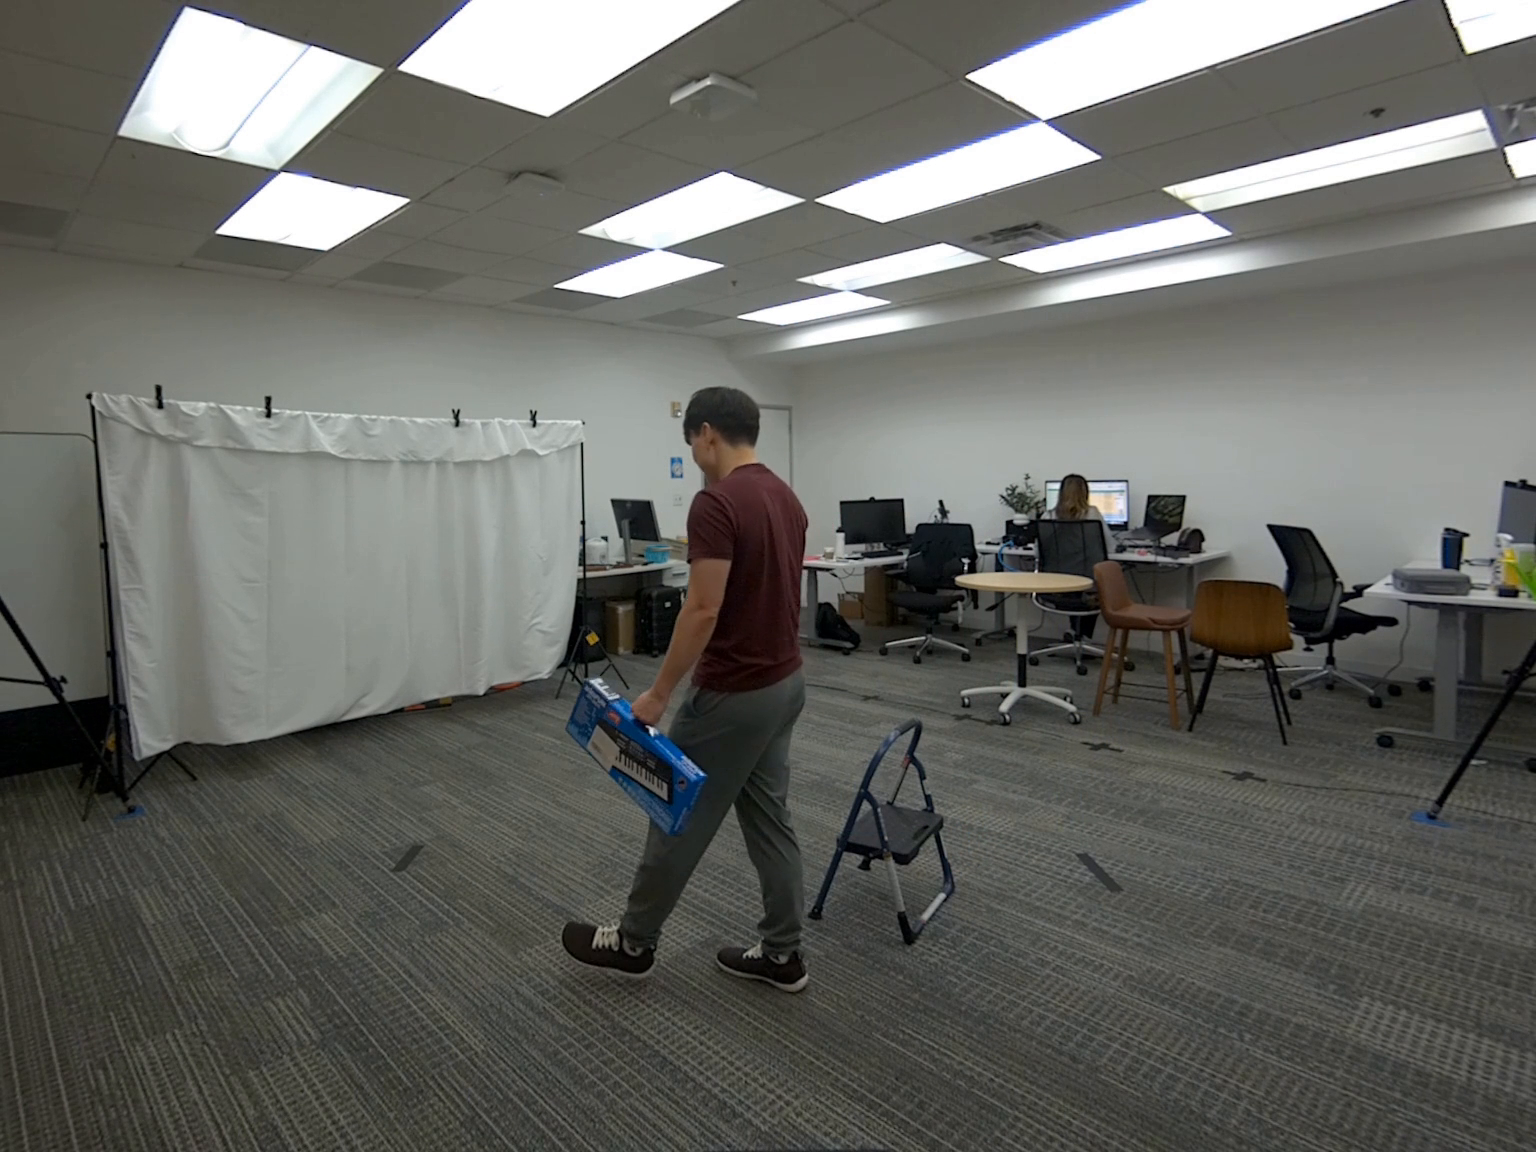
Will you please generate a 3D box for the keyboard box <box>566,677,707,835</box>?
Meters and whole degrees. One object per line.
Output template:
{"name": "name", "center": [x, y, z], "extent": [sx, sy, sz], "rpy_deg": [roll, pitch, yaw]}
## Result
{"name": "keyboard box", "center": [-0.332, 0.468, 2.226], "extent": [0.452, 0.175, 0.057], "rpy_deg": [34, 19, 30]}
